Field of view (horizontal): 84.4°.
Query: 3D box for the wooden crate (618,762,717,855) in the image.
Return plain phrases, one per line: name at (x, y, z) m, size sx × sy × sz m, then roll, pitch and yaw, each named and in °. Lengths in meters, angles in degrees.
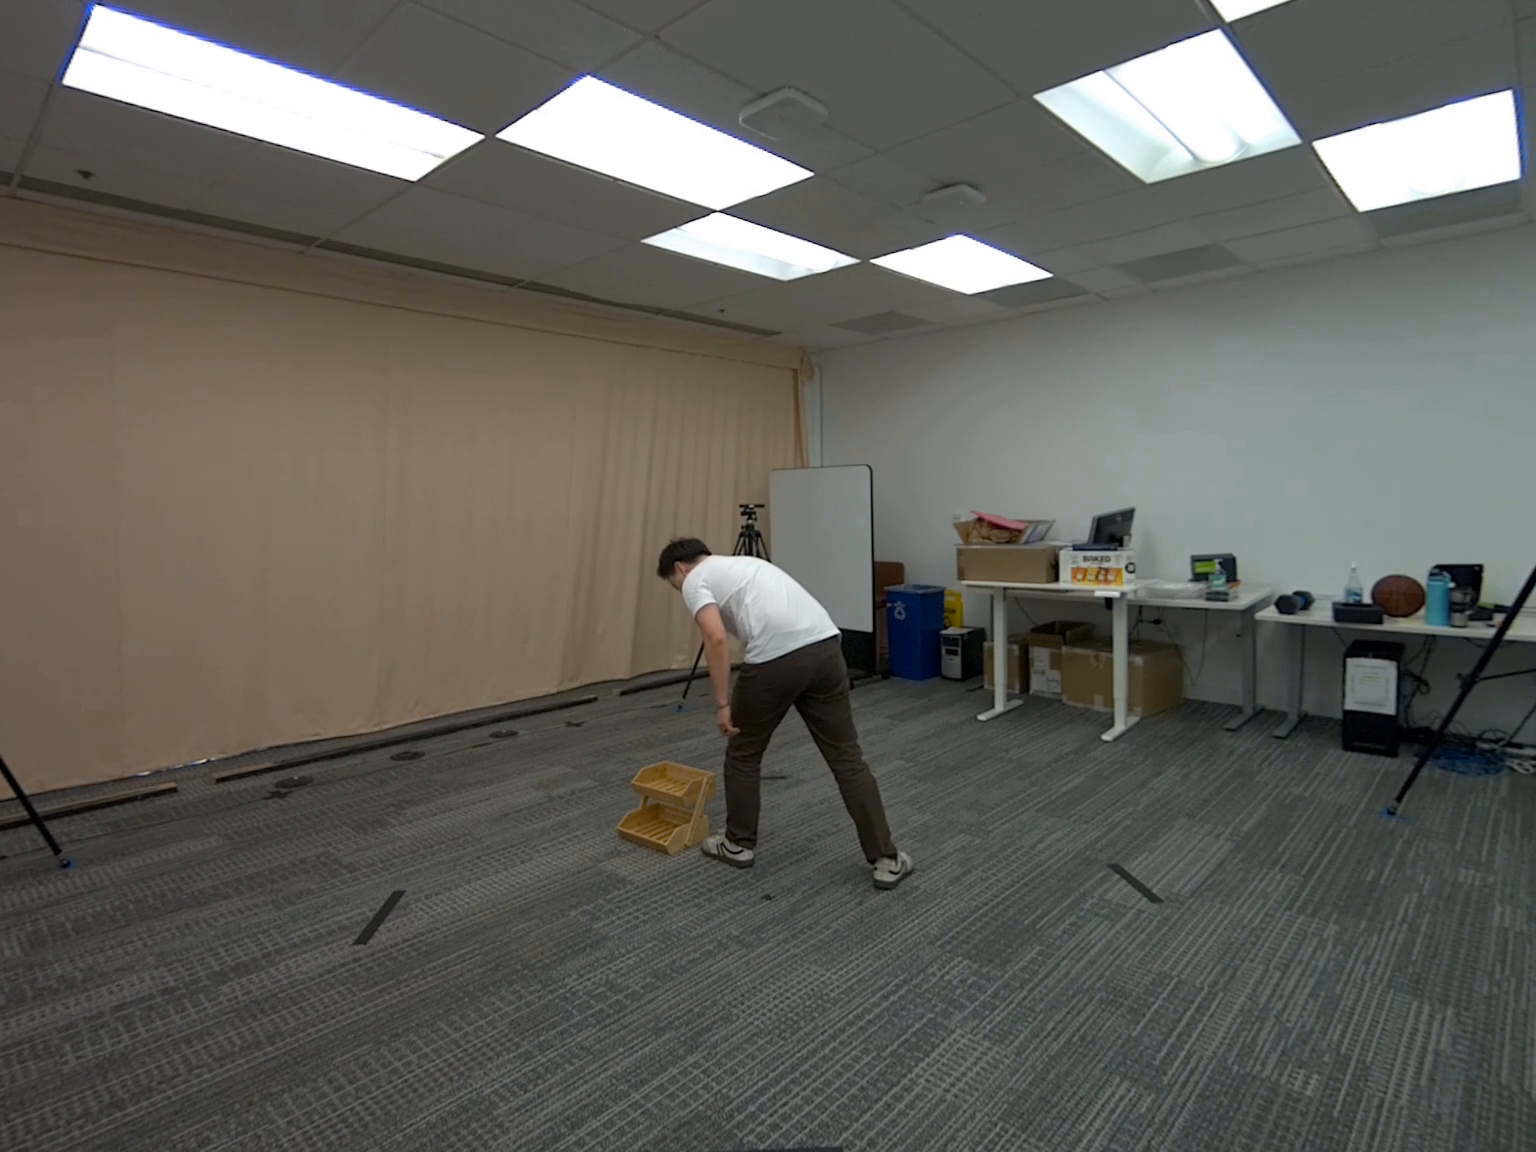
wooden crate at (-0.429, 0.966, 3.551) m, size 0.335 × 0.273 × 0.293 m, roll 2°, pitch 4°, yaw 40°
